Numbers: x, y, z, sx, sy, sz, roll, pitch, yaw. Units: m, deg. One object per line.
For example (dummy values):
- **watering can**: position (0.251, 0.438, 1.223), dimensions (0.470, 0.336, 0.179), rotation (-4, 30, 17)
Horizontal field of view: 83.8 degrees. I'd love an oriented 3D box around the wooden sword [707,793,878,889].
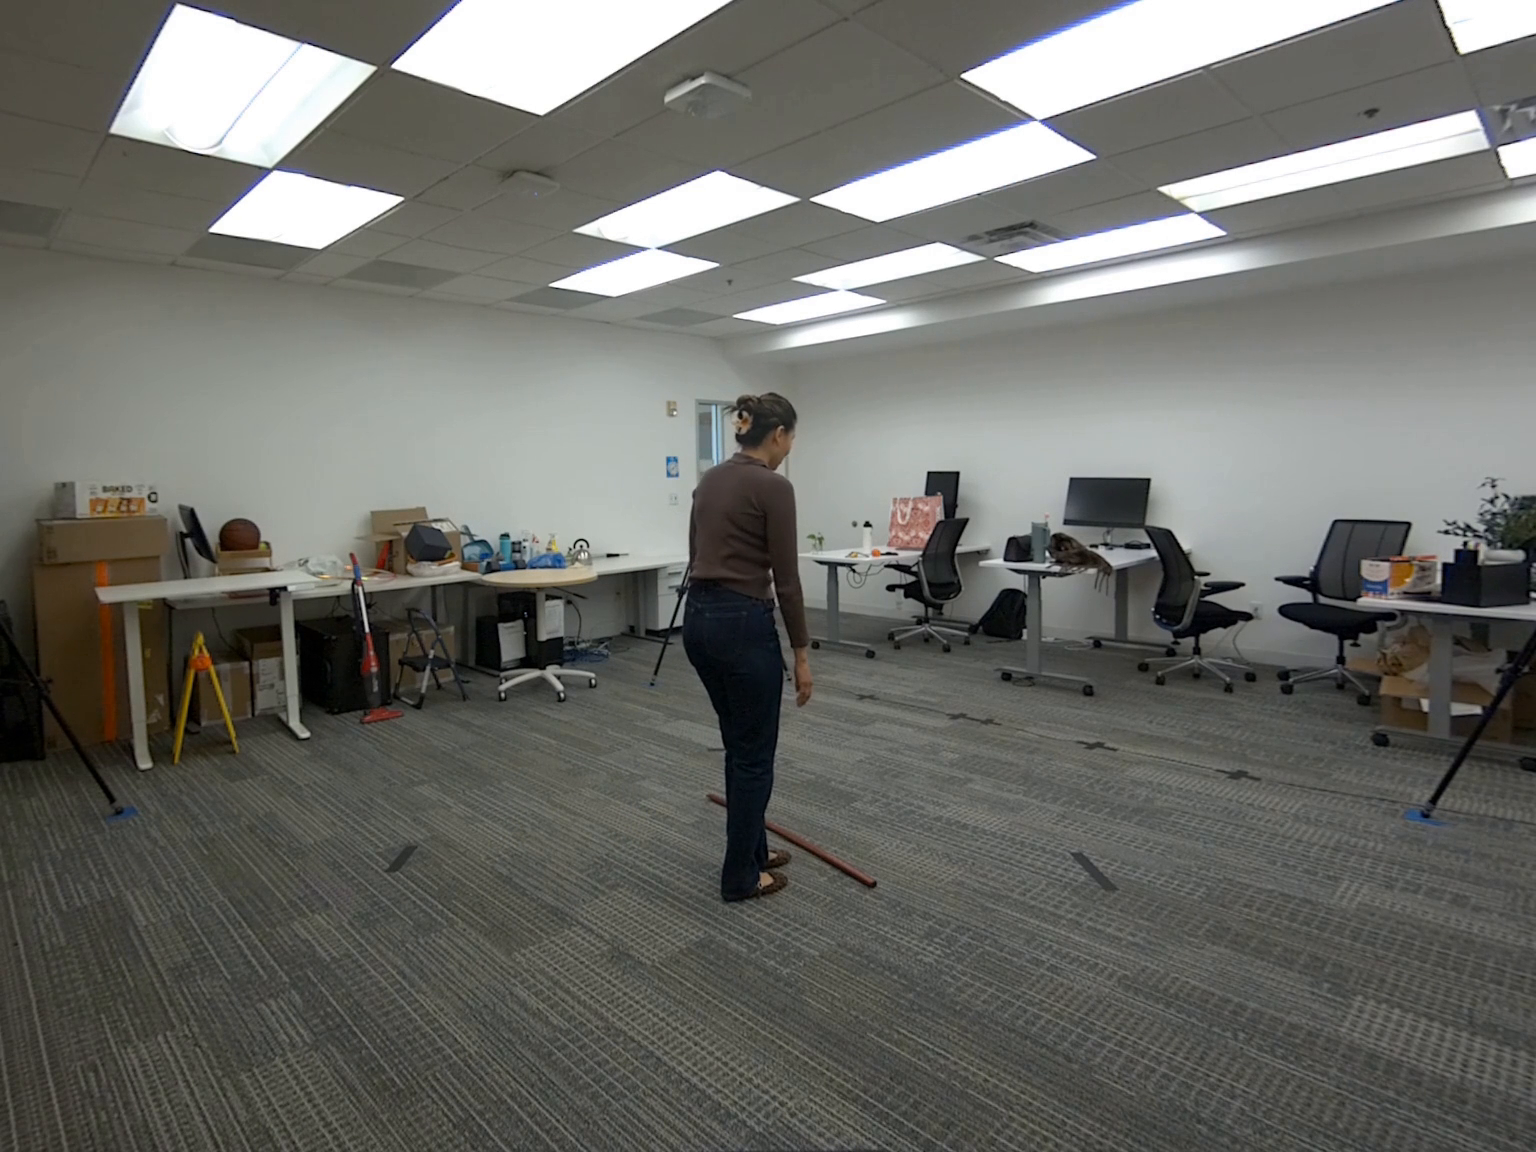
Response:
- **wooden sword**: position (0.052, 0.995, 3.325), dimensions (0.024, 0.050, 1.055), rotation (-48, 29, -23)
